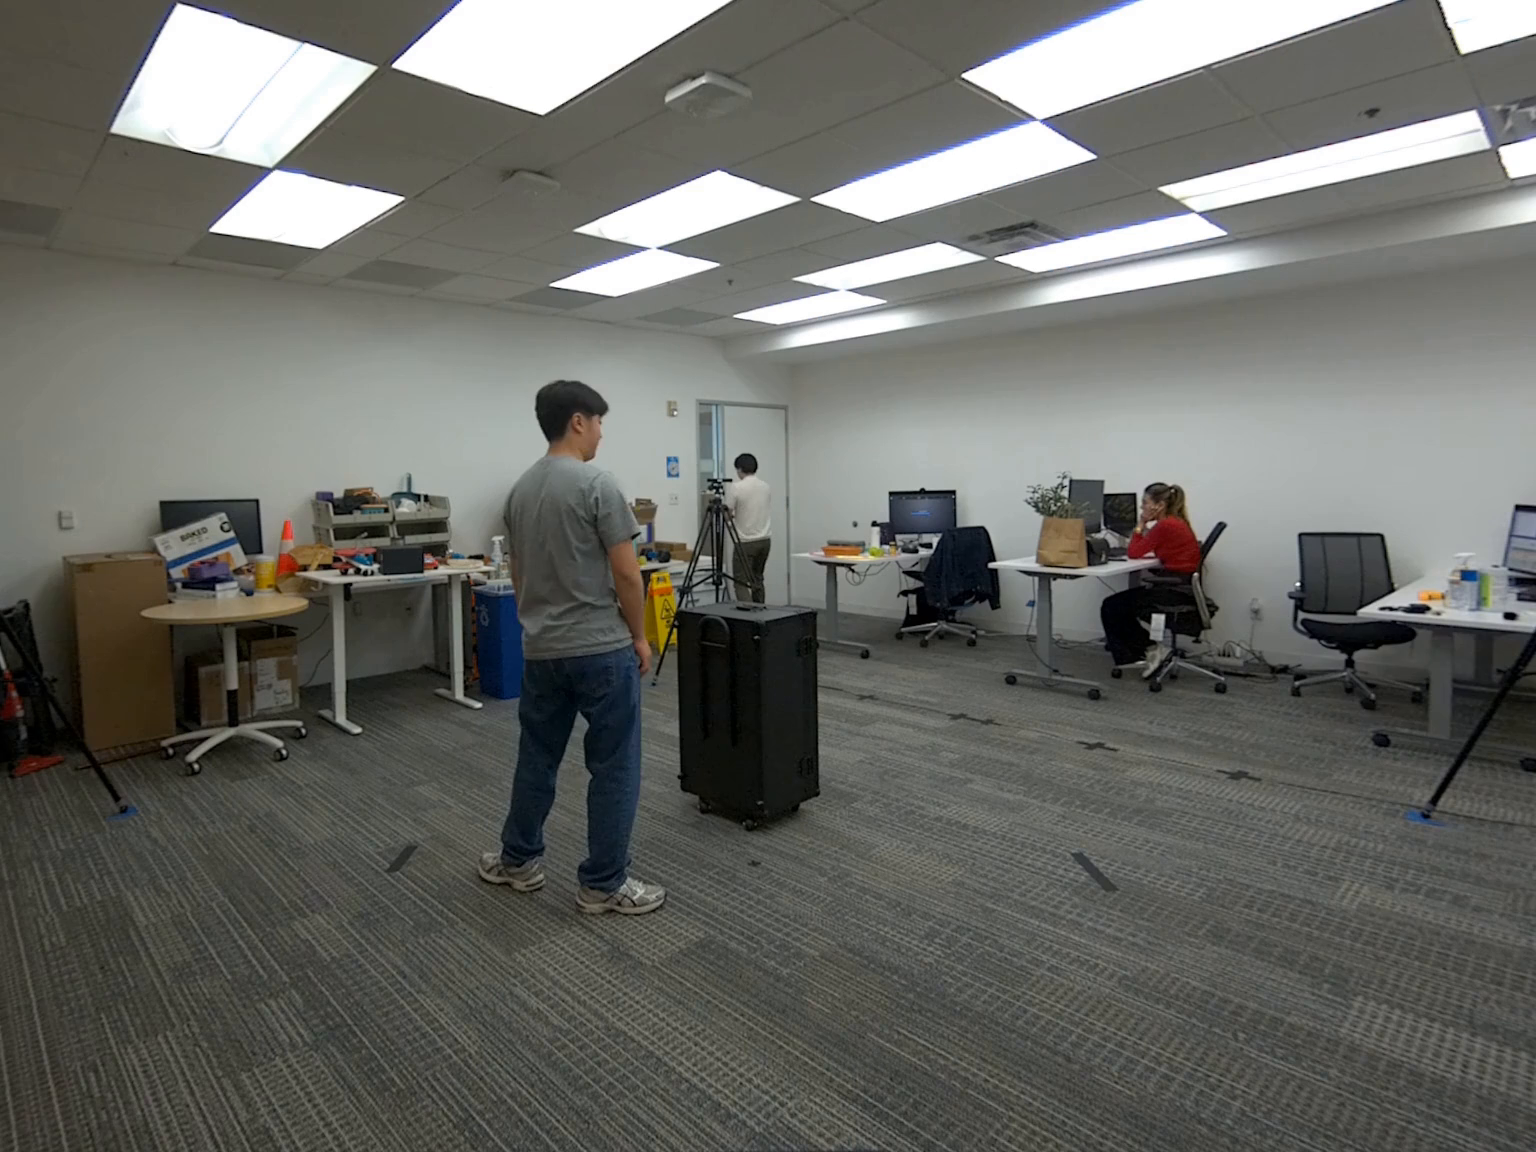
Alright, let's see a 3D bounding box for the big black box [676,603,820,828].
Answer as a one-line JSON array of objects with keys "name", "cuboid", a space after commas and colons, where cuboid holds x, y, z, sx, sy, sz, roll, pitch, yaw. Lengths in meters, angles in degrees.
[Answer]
[{"name": "big black box", "cuboid": [-0.089, 0.566, 3.587, 0.537, 0.858, 0.386, 3, 7, 43]}]
